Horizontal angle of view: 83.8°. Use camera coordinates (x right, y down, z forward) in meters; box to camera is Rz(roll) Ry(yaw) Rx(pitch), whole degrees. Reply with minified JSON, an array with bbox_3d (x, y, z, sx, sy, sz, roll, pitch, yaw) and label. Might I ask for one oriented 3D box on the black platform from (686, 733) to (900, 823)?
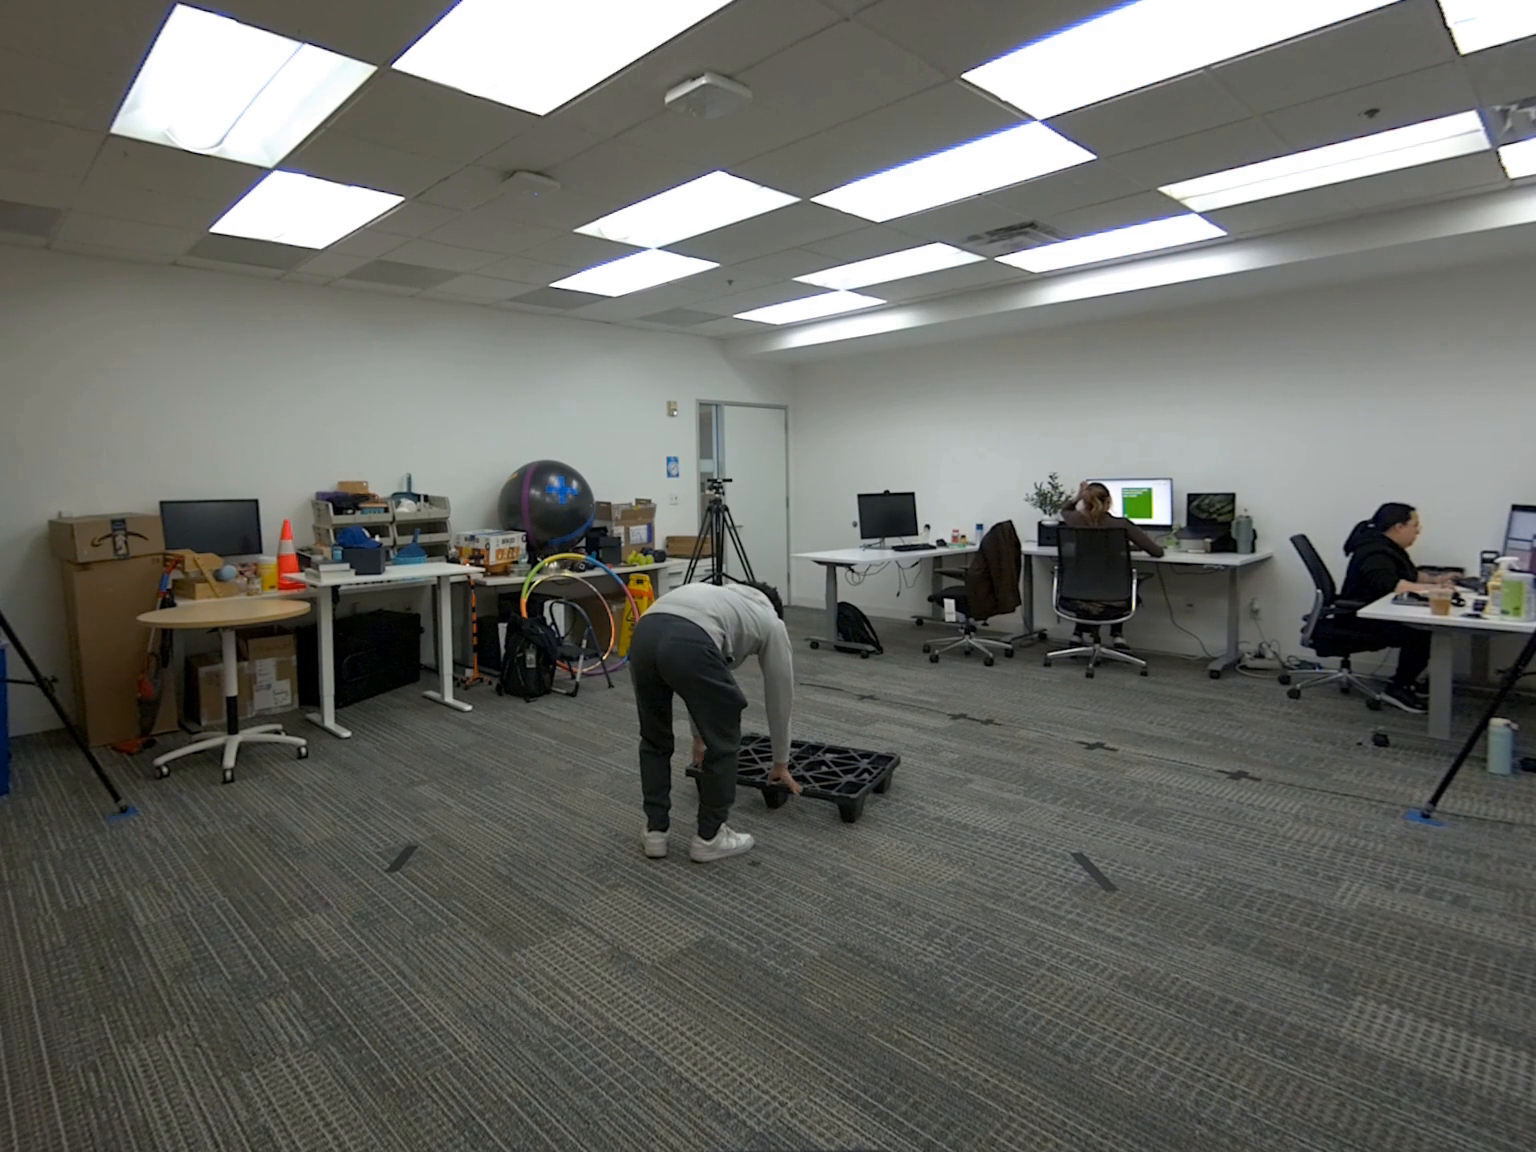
[{"bbox_3d":[0.117,0.893,3.829,0.826,0.143,0.592,3,6,28],"label":"black platform"}]
